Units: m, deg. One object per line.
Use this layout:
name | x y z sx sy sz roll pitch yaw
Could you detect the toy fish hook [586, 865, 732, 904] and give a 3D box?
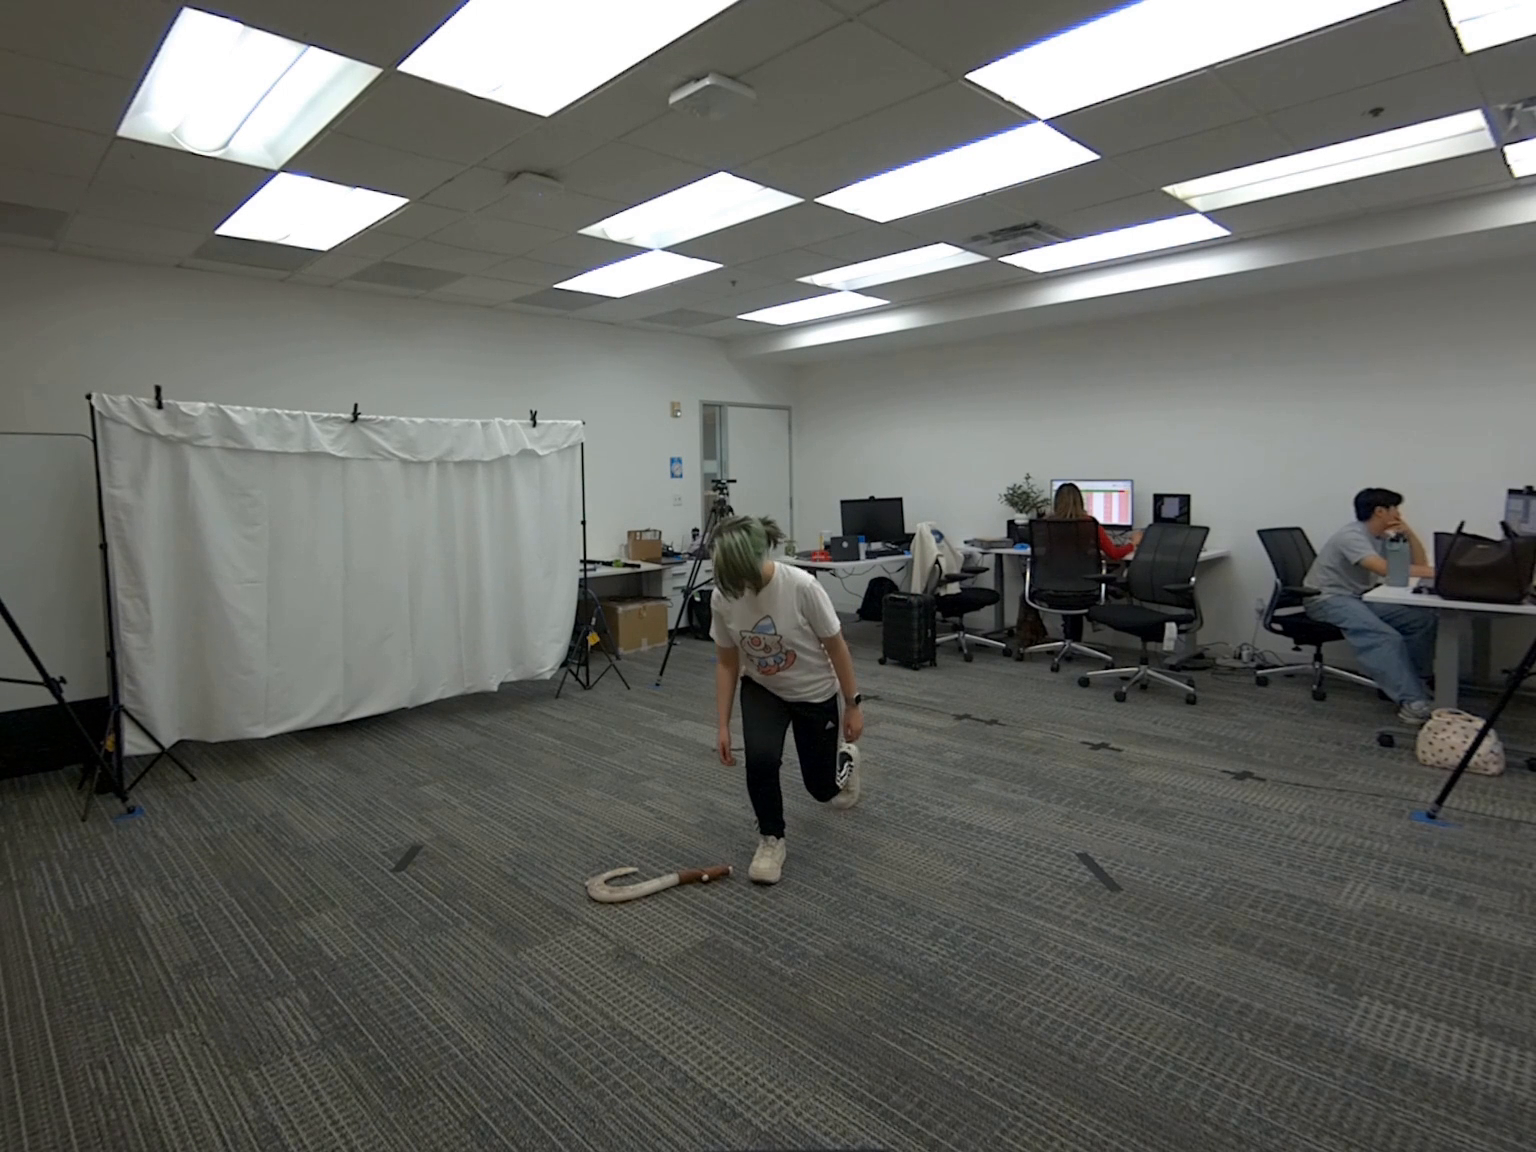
toy fish hook | -0.375 1.043 2.981 0.498 0.048 0.230 -3 8 -19
